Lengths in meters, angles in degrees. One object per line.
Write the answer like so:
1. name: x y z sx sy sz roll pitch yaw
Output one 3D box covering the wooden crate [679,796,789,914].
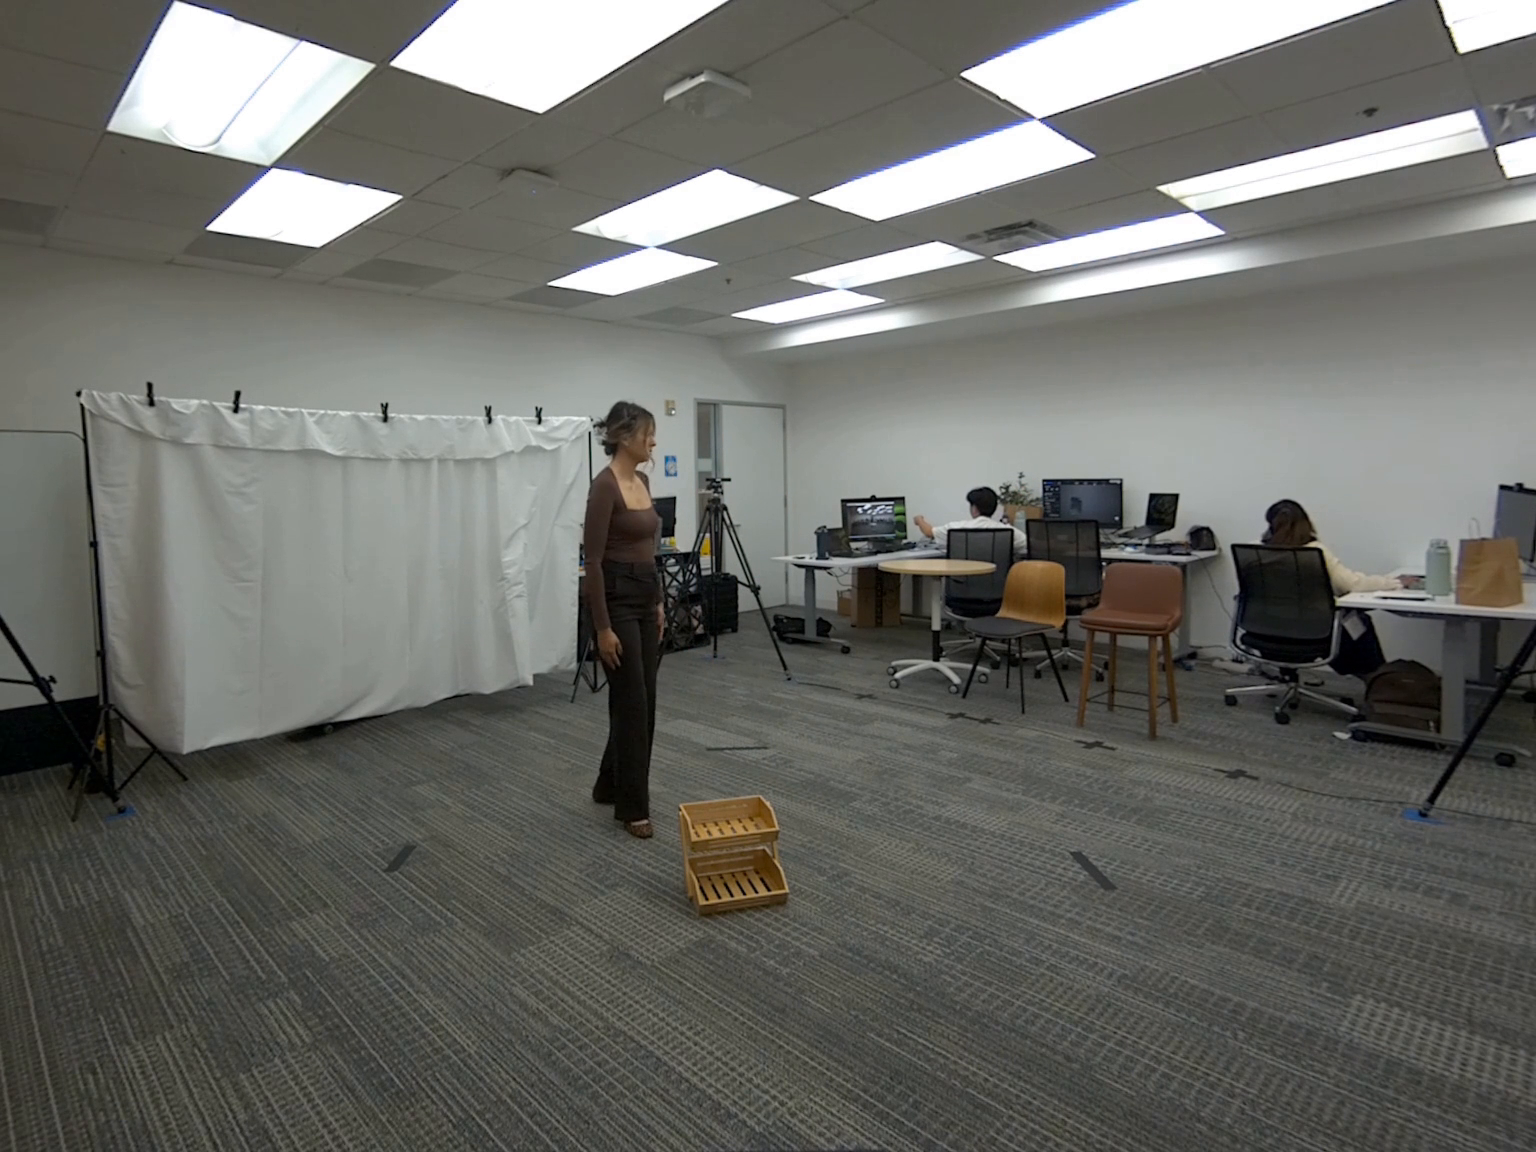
1. wooden crate: -0.119 0.933 2.888 0.320 0.272 0.308 -2 5 -16
